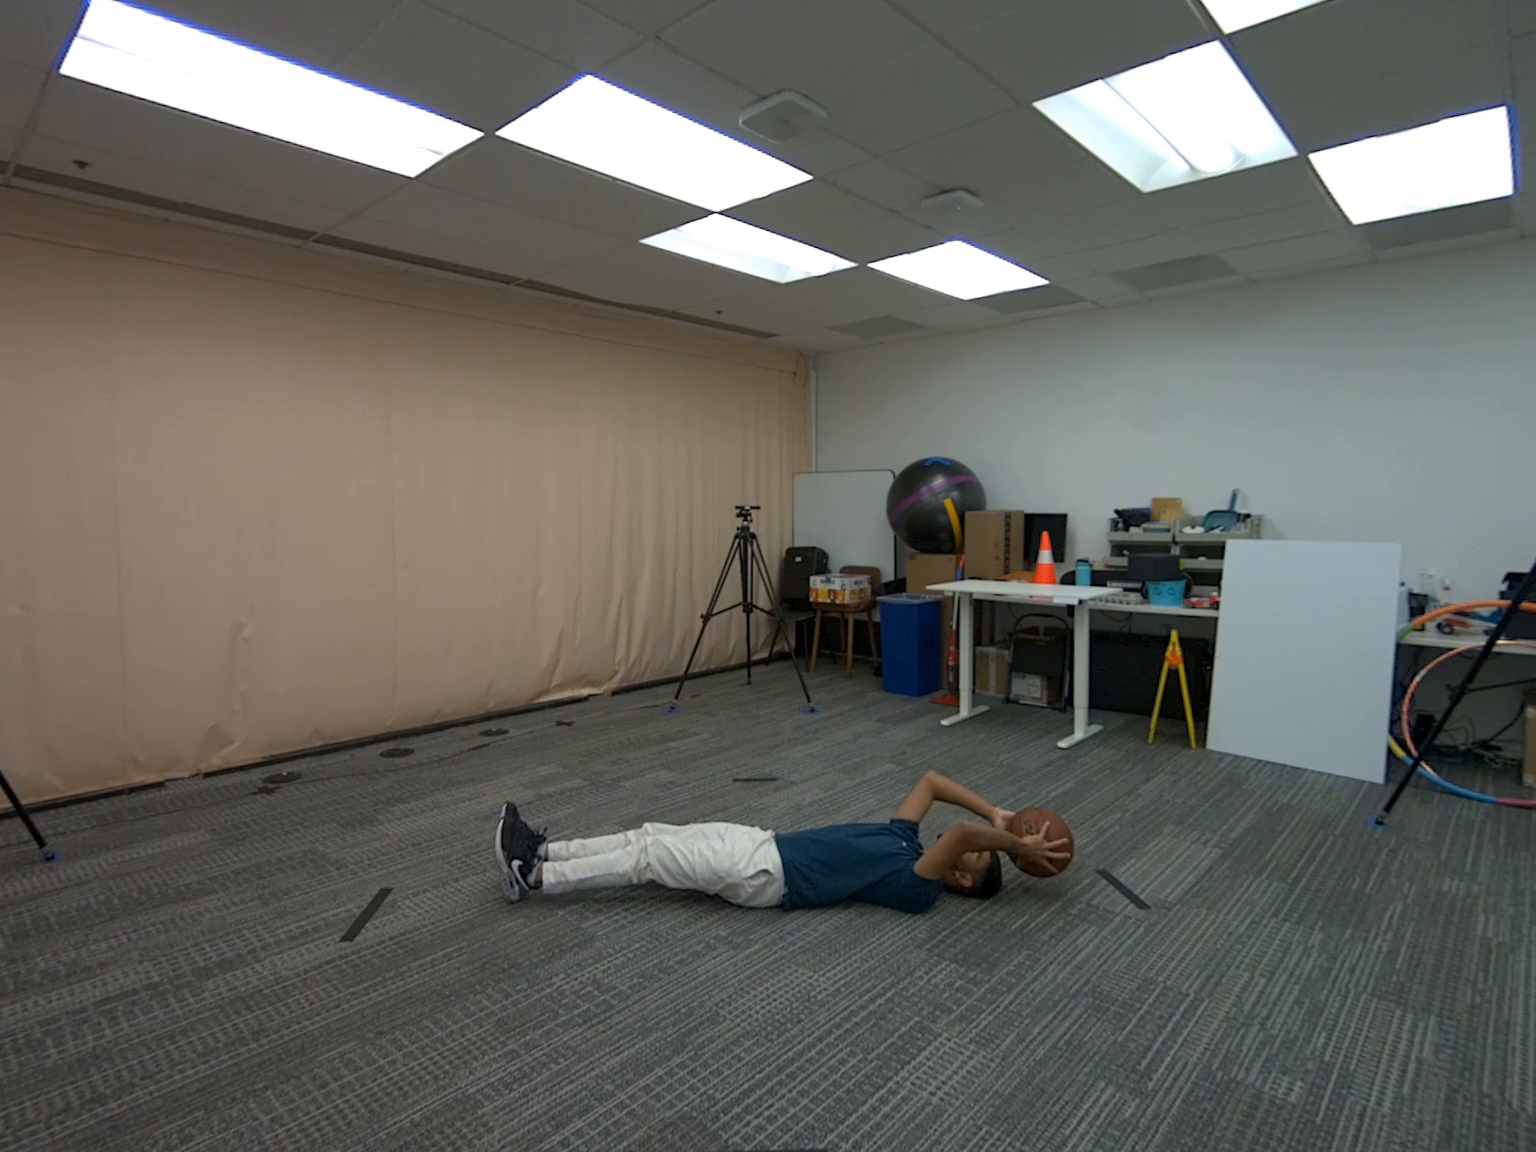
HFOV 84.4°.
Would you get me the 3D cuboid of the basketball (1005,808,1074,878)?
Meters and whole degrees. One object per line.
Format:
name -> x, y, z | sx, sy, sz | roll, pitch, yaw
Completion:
basketball -> 0.981, 0.954, 3.027 | 0.236, 0.235, 0.237 | 0, 4, -2
